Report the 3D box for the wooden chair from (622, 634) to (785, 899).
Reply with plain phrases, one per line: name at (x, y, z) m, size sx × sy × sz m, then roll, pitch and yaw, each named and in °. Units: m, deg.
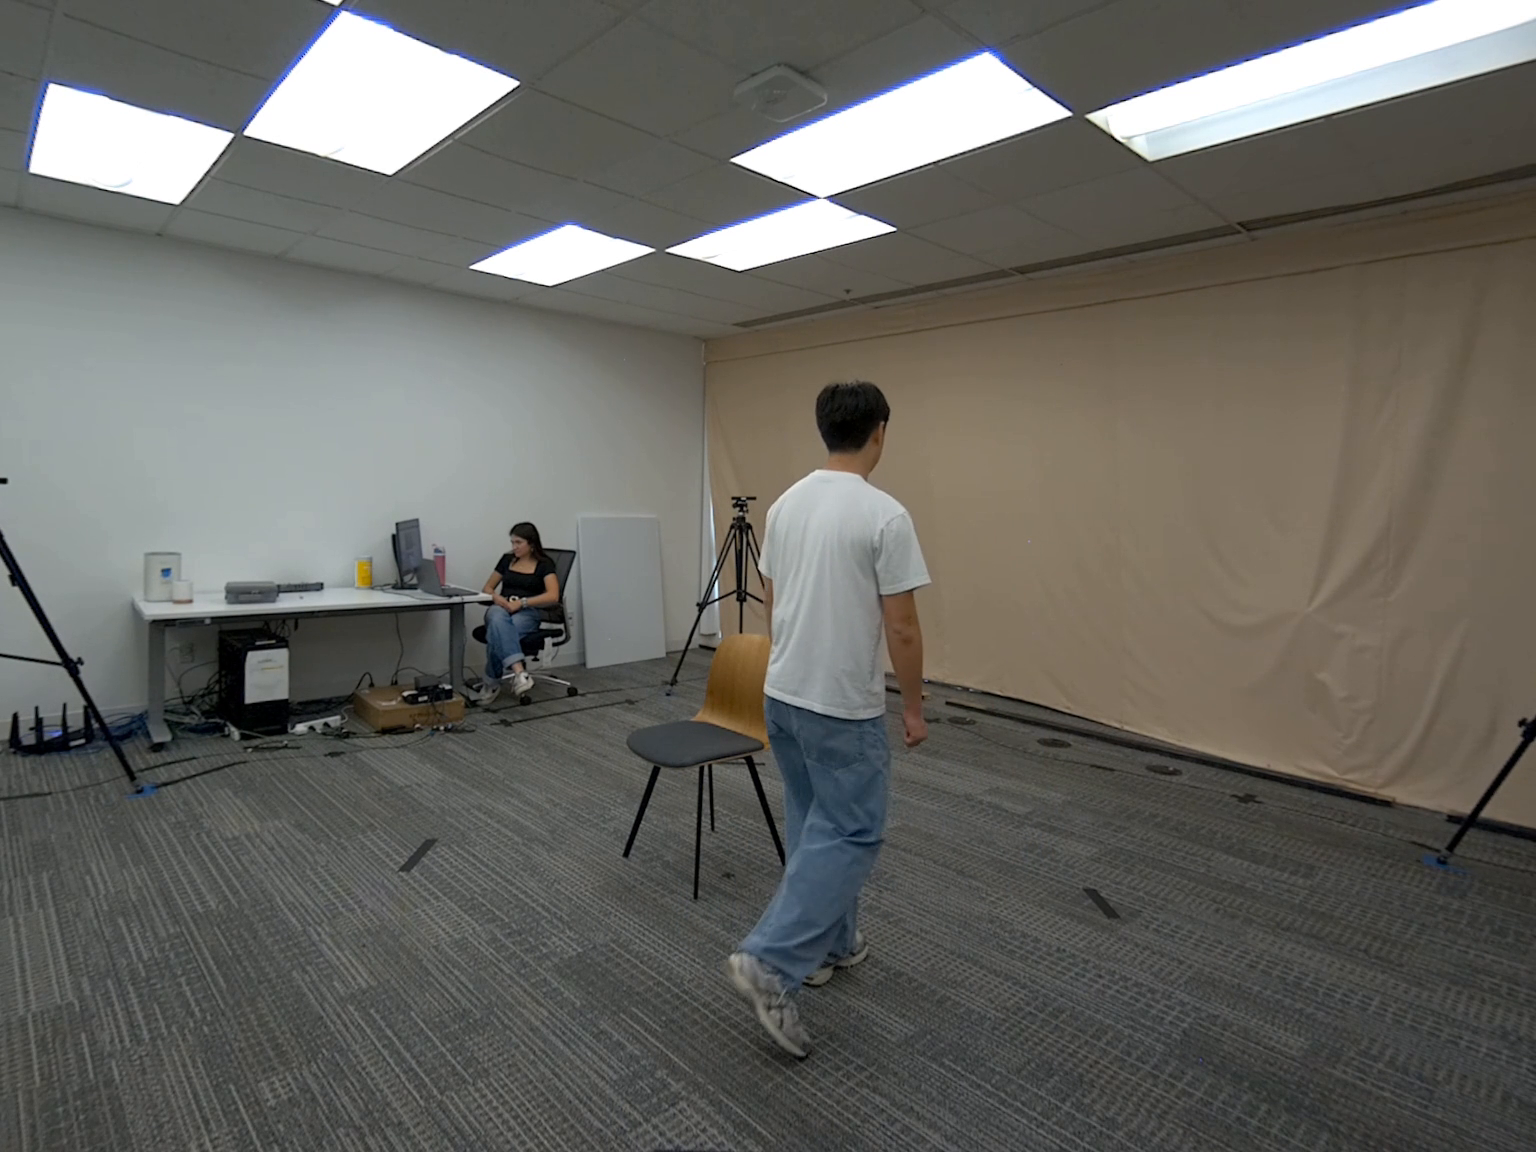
wooden chair at (-0.244, 0.670, 3.187) m, size 0.510 × 0.877 × 0.490 m, roll 4°, pitch 1°, yaw -42°
